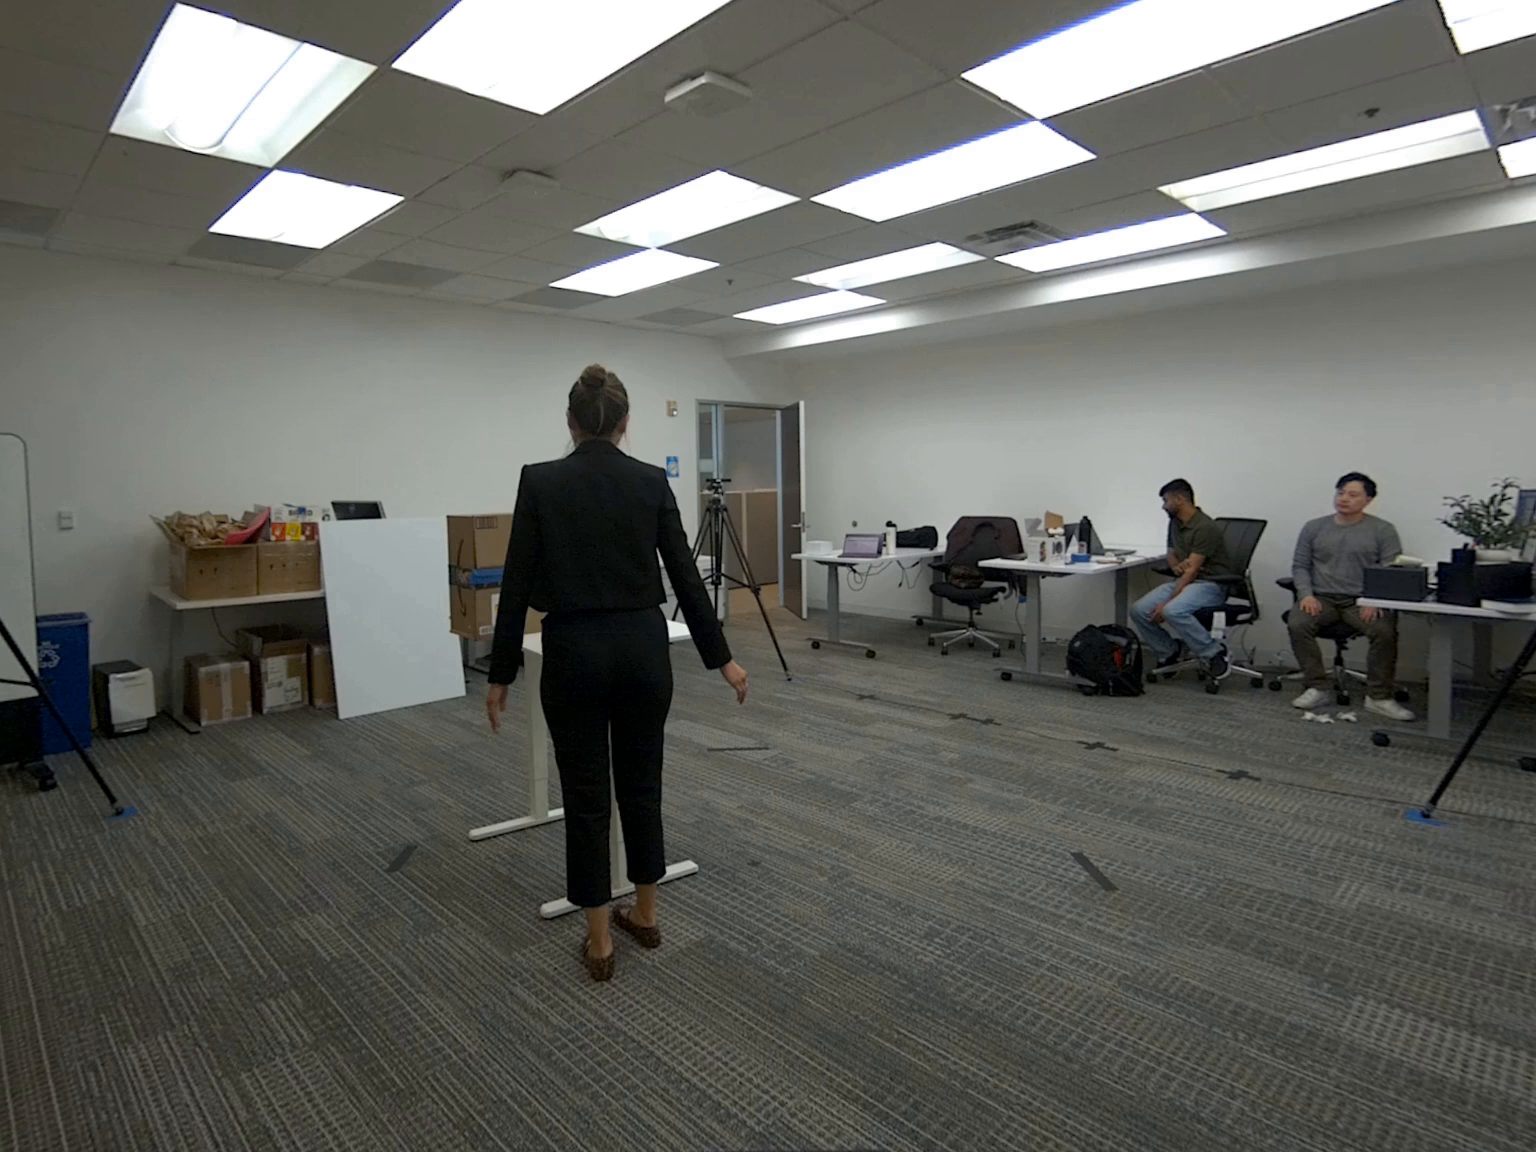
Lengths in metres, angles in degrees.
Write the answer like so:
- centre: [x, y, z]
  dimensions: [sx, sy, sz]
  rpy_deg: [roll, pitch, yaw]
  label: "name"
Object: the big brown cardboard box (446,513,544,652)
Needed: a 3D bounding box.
- centre: [-0.827, -0.025, 3.054]
  dimensions: [0.574, 0.416, 0.240]
  rpy_deg: [-7, 7, -42]
  label: "big brown cardboard box"
